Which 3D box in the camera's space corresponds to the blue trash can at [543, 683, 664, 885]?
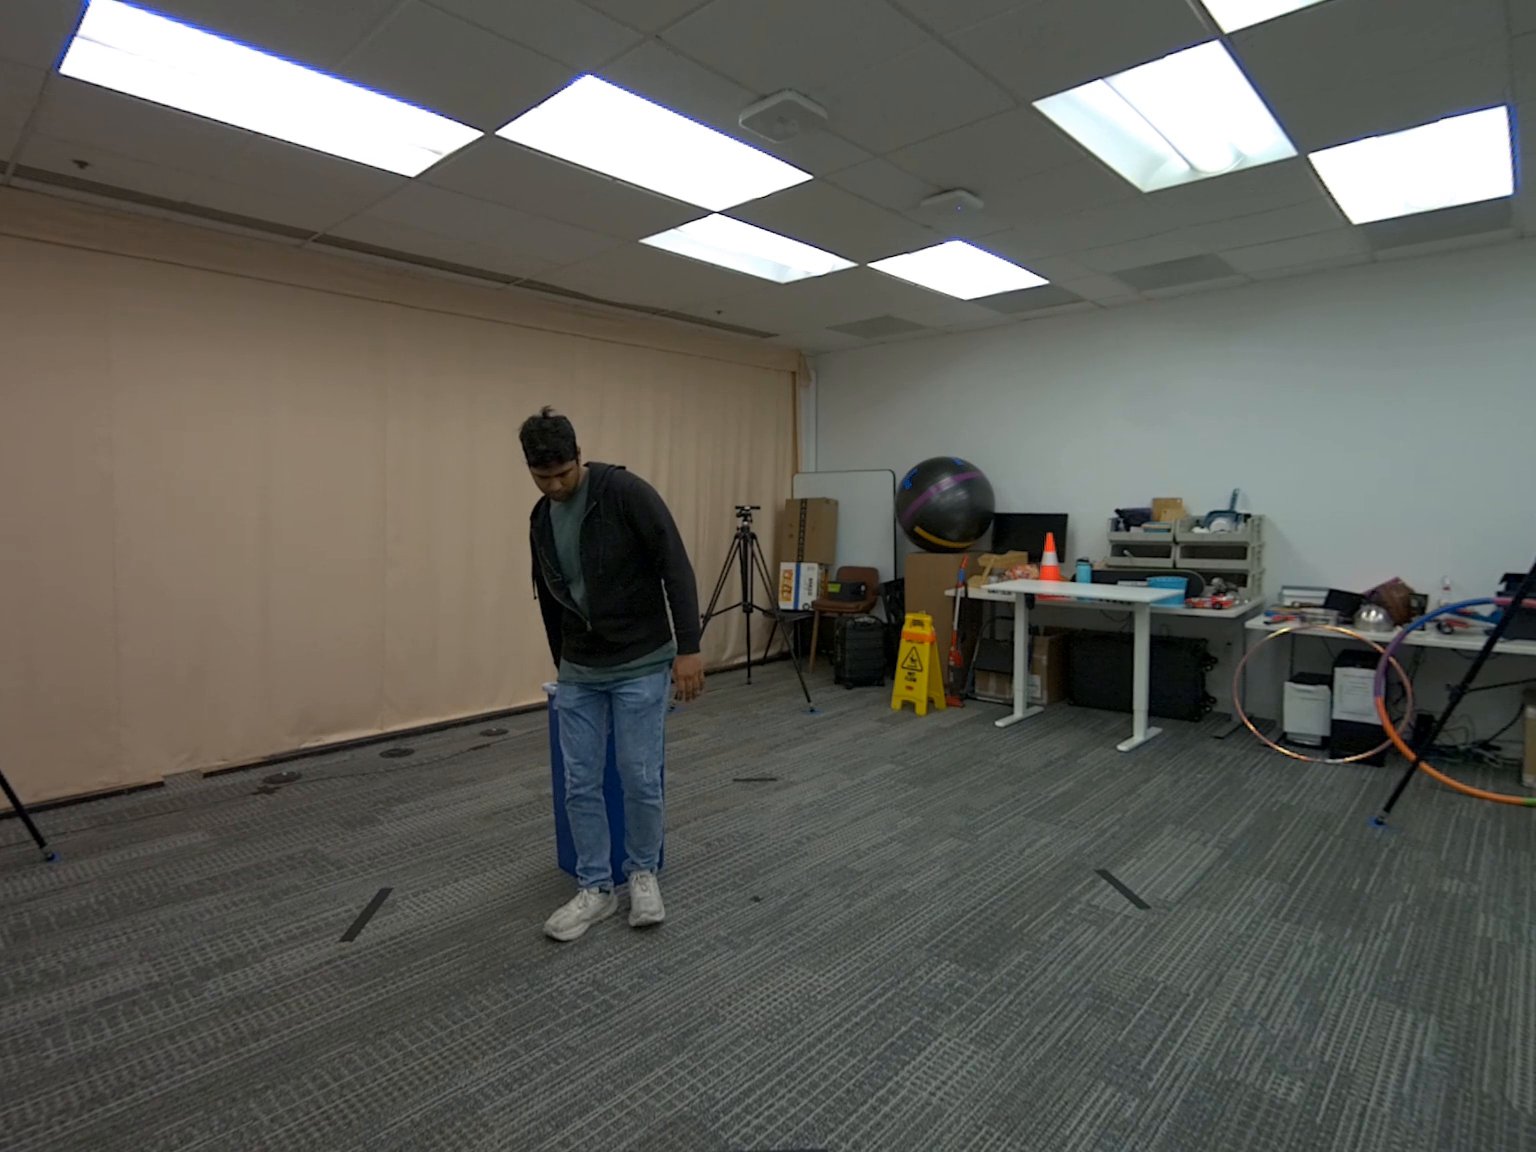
[{"bbox_3d":[-0.608,0.765,3.239,0.366,0.713,0.386,-3,2,-43],"label":"blue trash can"}]
